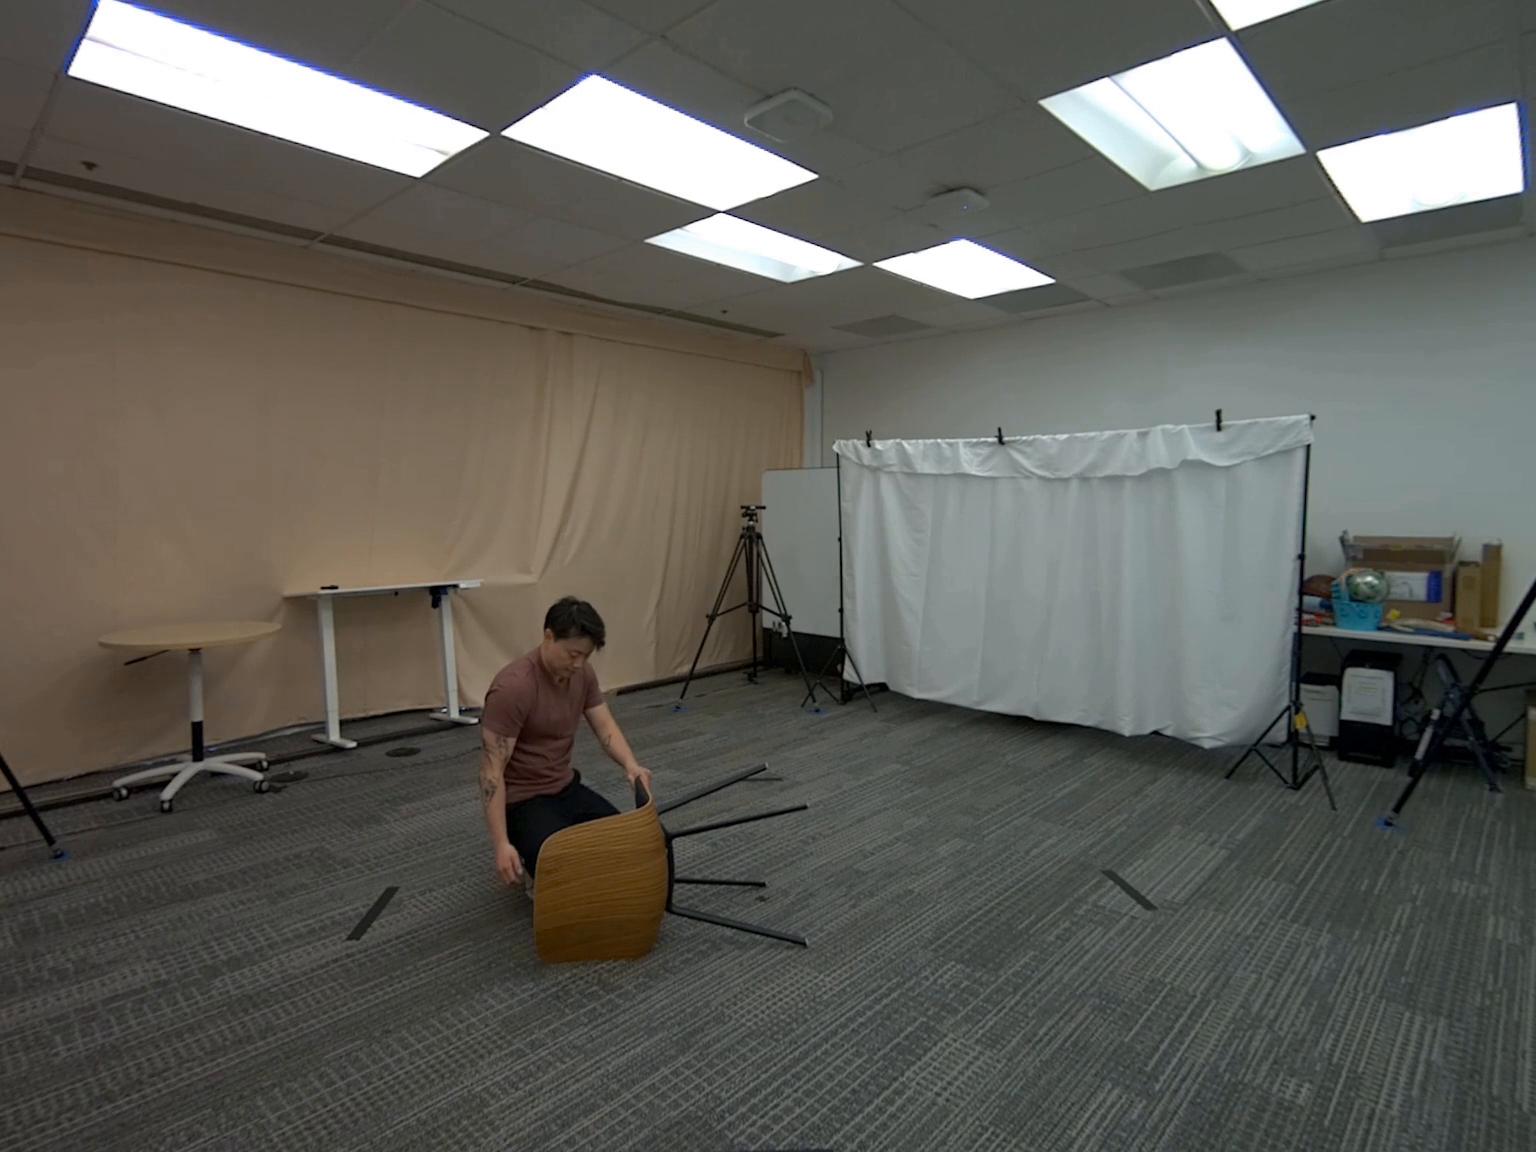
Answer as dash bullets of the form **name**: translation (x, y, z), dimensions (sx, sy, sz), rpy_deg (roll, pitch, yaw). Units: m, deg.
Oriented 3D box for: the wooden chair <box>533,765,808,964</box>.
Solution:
- **wooden chair**: translation (-0.350, 0.933, 2.768), dimensions (0.860, 0.477, 0.534), rpy_deg (-2, 3, -20)
